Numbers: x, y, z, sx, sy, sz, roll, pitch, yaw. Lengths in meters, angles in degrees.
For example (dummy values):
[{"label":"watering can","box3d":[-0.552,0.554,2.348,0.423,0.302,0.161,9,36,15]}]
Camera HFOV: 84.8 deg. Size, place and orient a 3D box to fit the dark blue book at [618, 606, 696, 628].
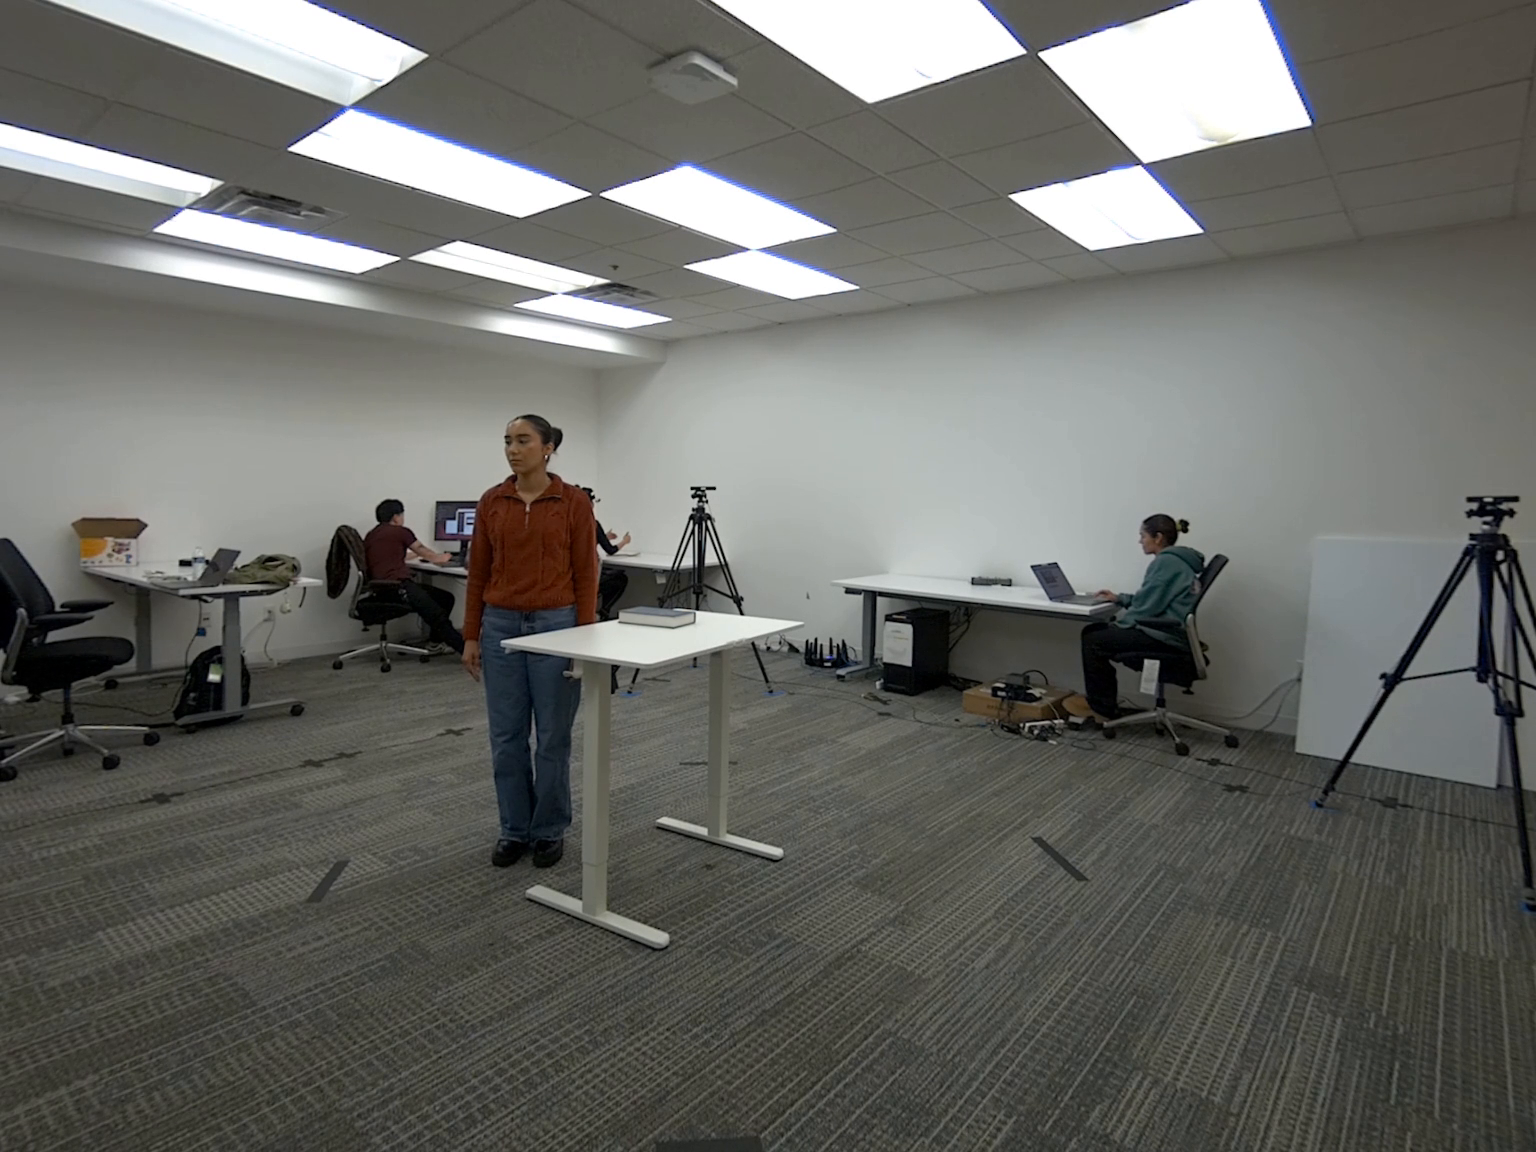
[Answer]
[{"label":"dark blue book","box3d":[-0.426,0.154,3.172,0.251,0.045,0.160,3,6,25]}]
